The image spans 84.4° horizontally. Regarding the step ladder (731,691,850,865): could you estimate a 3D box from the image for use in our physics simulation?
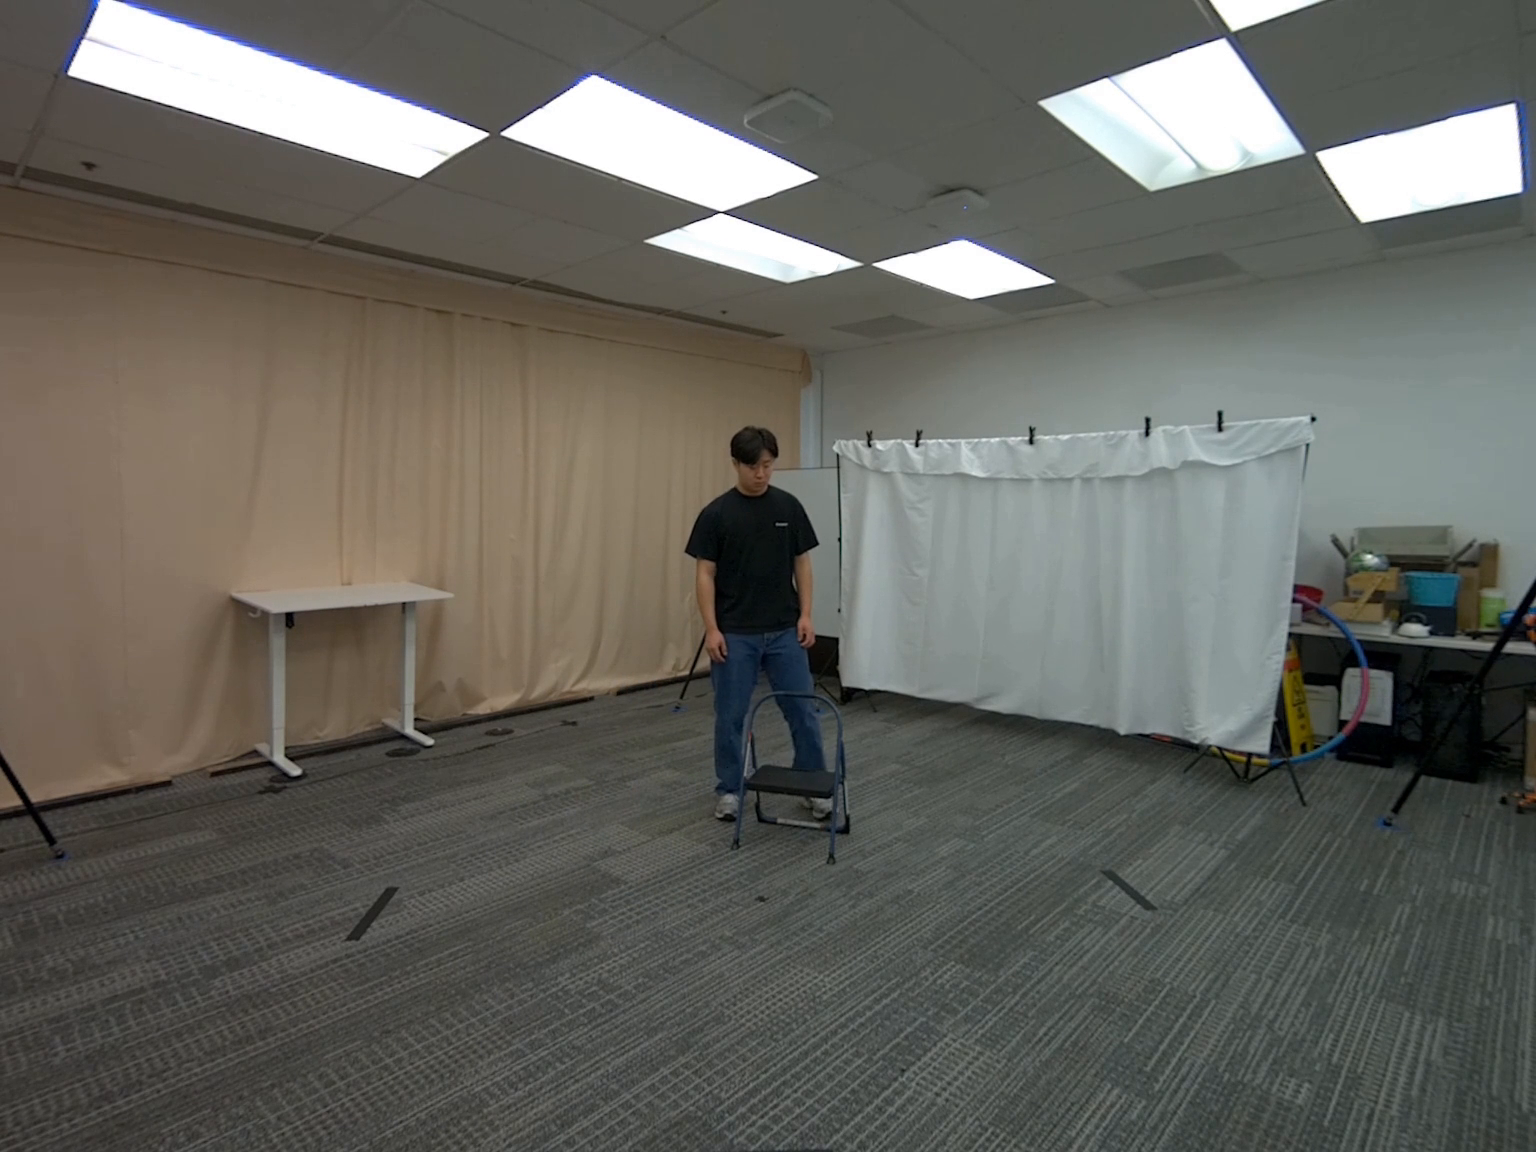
[{"bbox_3d":[0.111,0.802,3.489,0.439,0.604,0.343,1,5,18],"label":"step ladder"}]
